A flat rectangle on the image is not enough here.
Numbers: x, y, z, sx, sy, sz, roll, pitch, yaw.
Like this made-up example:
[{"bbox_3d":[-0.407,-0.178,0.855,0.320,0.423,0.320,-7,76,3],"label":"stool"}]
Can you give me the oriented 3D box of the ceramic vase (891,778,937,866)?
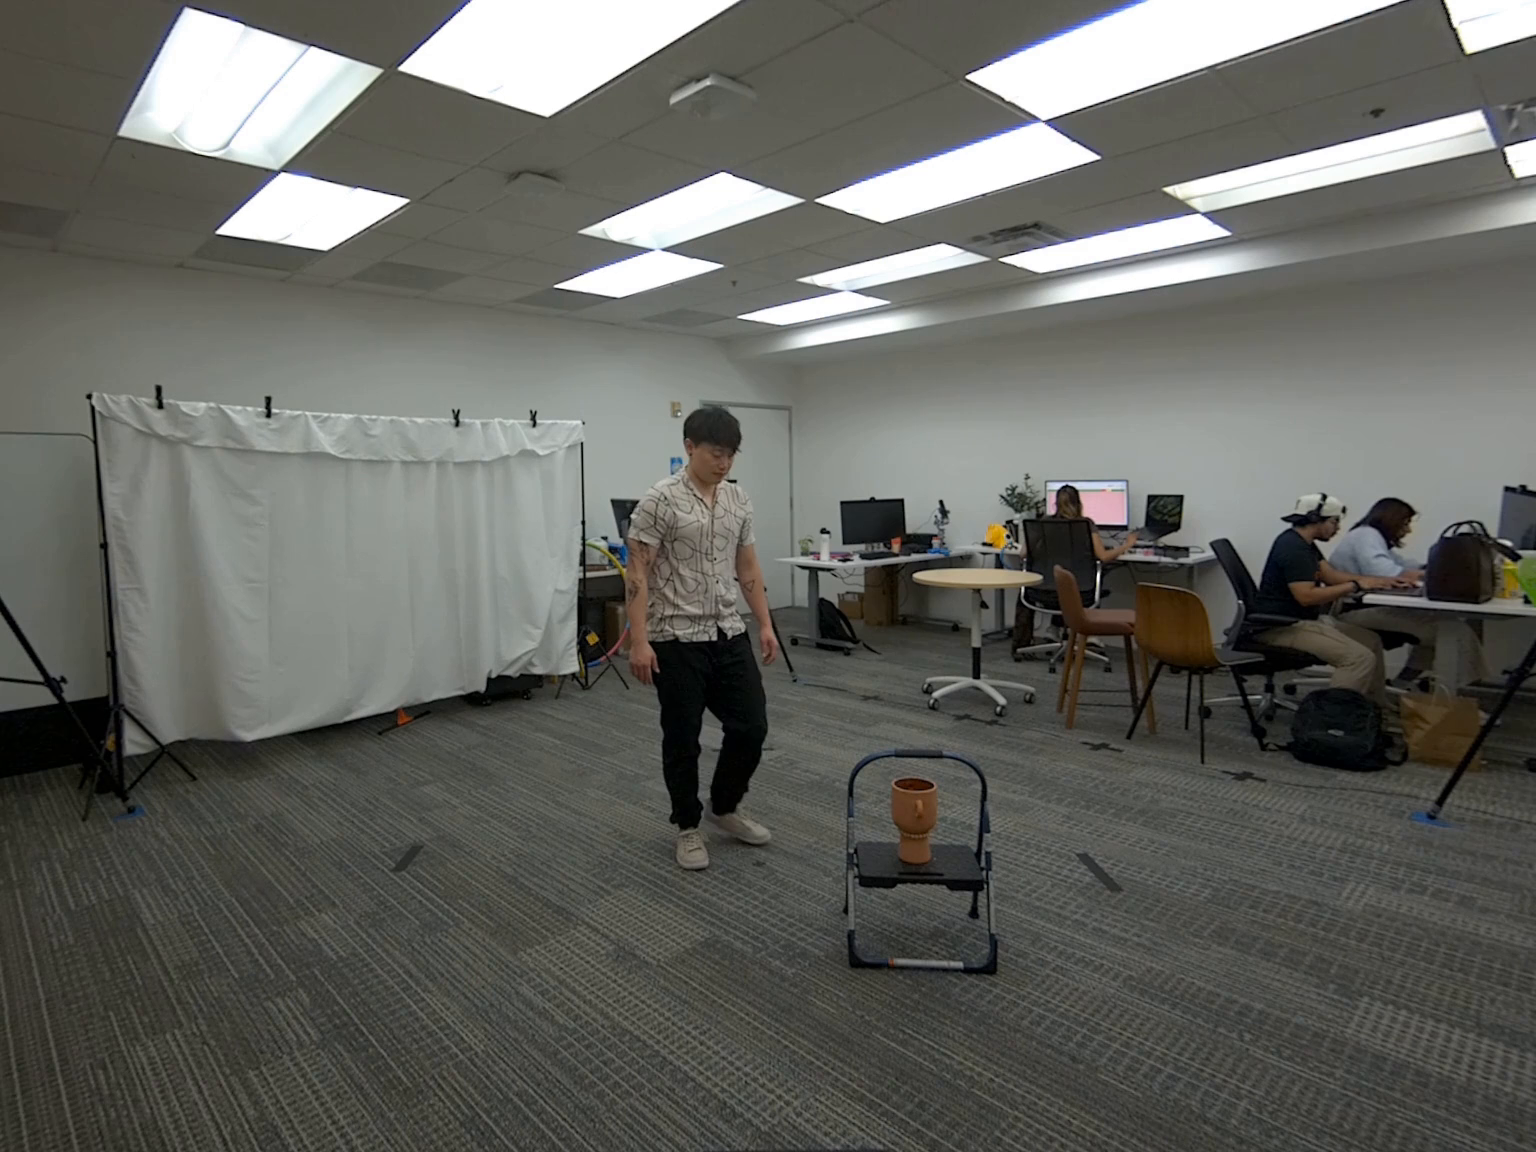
[{"bbox_3d":[0.438,0.724,2.546,0.139,0.219,0.155,3,6,40],"label":"ceramic vase"}]
